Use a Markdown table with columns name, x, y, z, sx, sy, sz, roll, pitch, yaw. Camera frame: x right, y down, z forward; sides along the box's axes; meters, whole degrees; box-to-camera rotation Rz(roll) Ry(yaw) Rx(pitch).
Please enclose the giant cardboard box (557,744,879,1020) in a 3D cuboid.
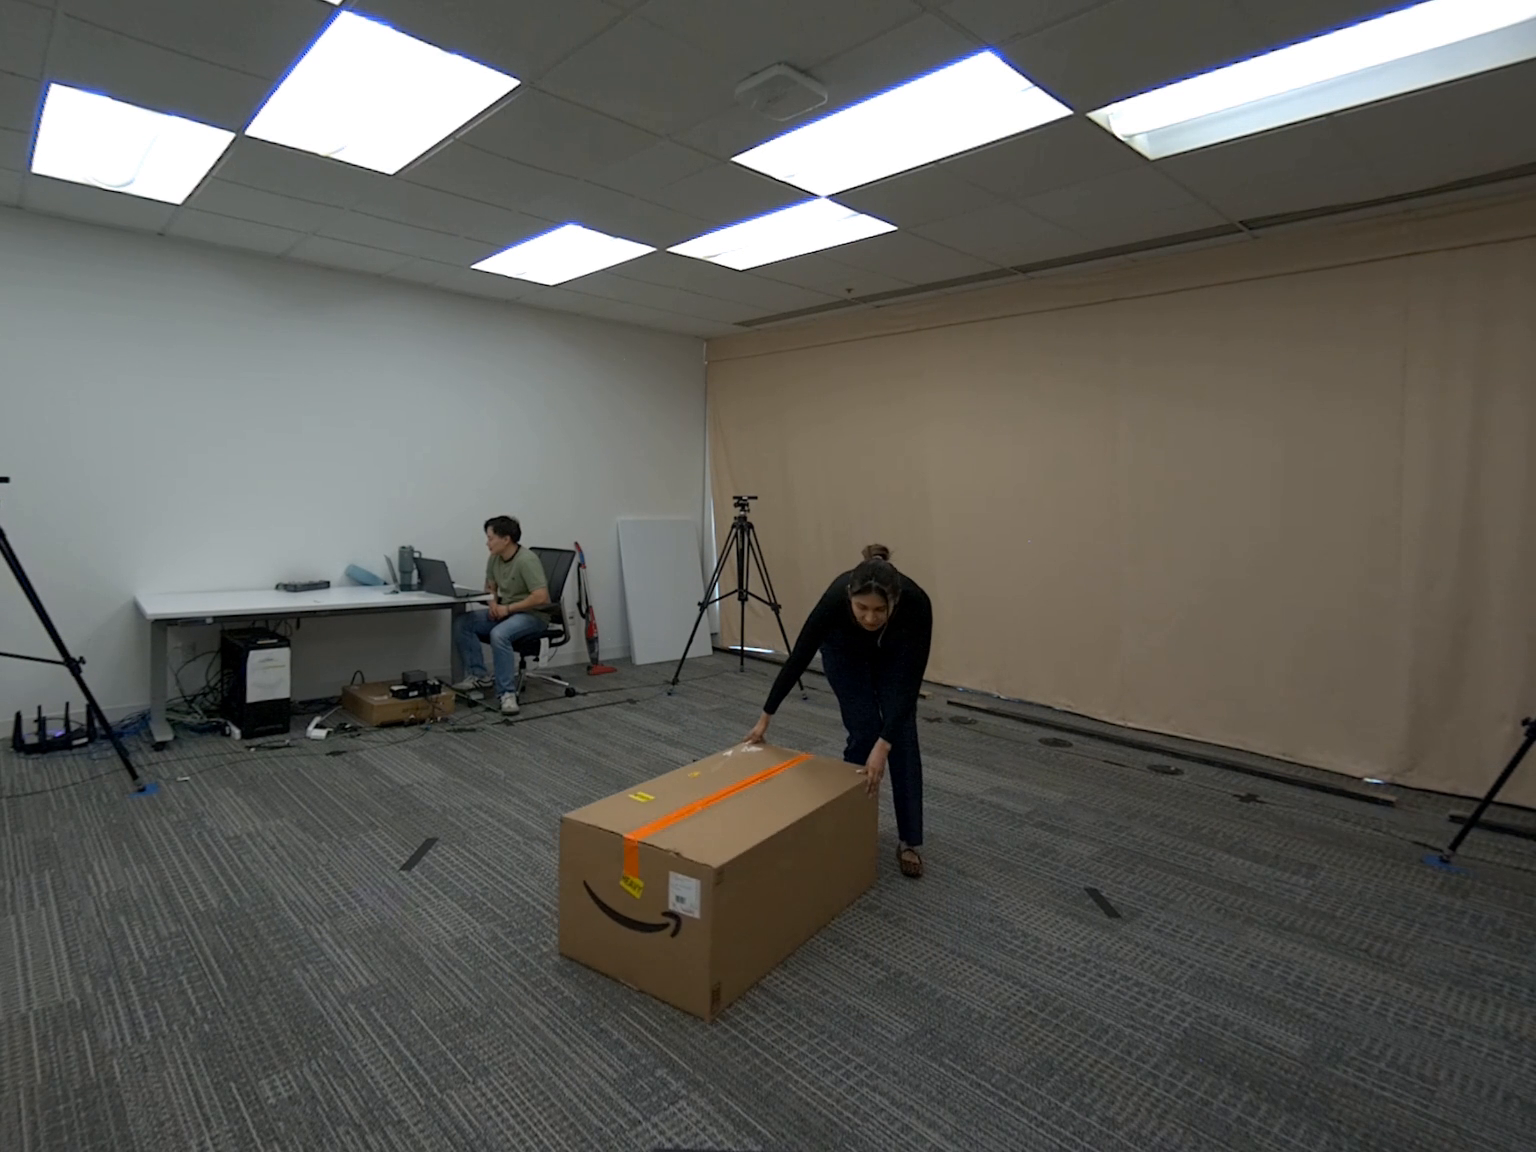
| name | x | y | z | sx | sy | sz | roll | pitch | yaw |
| --- | --- | --- | --- | --- | --- | --- | --- | --- | --- |
| giant cardboard box | -0.124 | 0.916 | 2.788 | 0.591 | 0.425 | 1.005 | 4 | 6 | 33 |
